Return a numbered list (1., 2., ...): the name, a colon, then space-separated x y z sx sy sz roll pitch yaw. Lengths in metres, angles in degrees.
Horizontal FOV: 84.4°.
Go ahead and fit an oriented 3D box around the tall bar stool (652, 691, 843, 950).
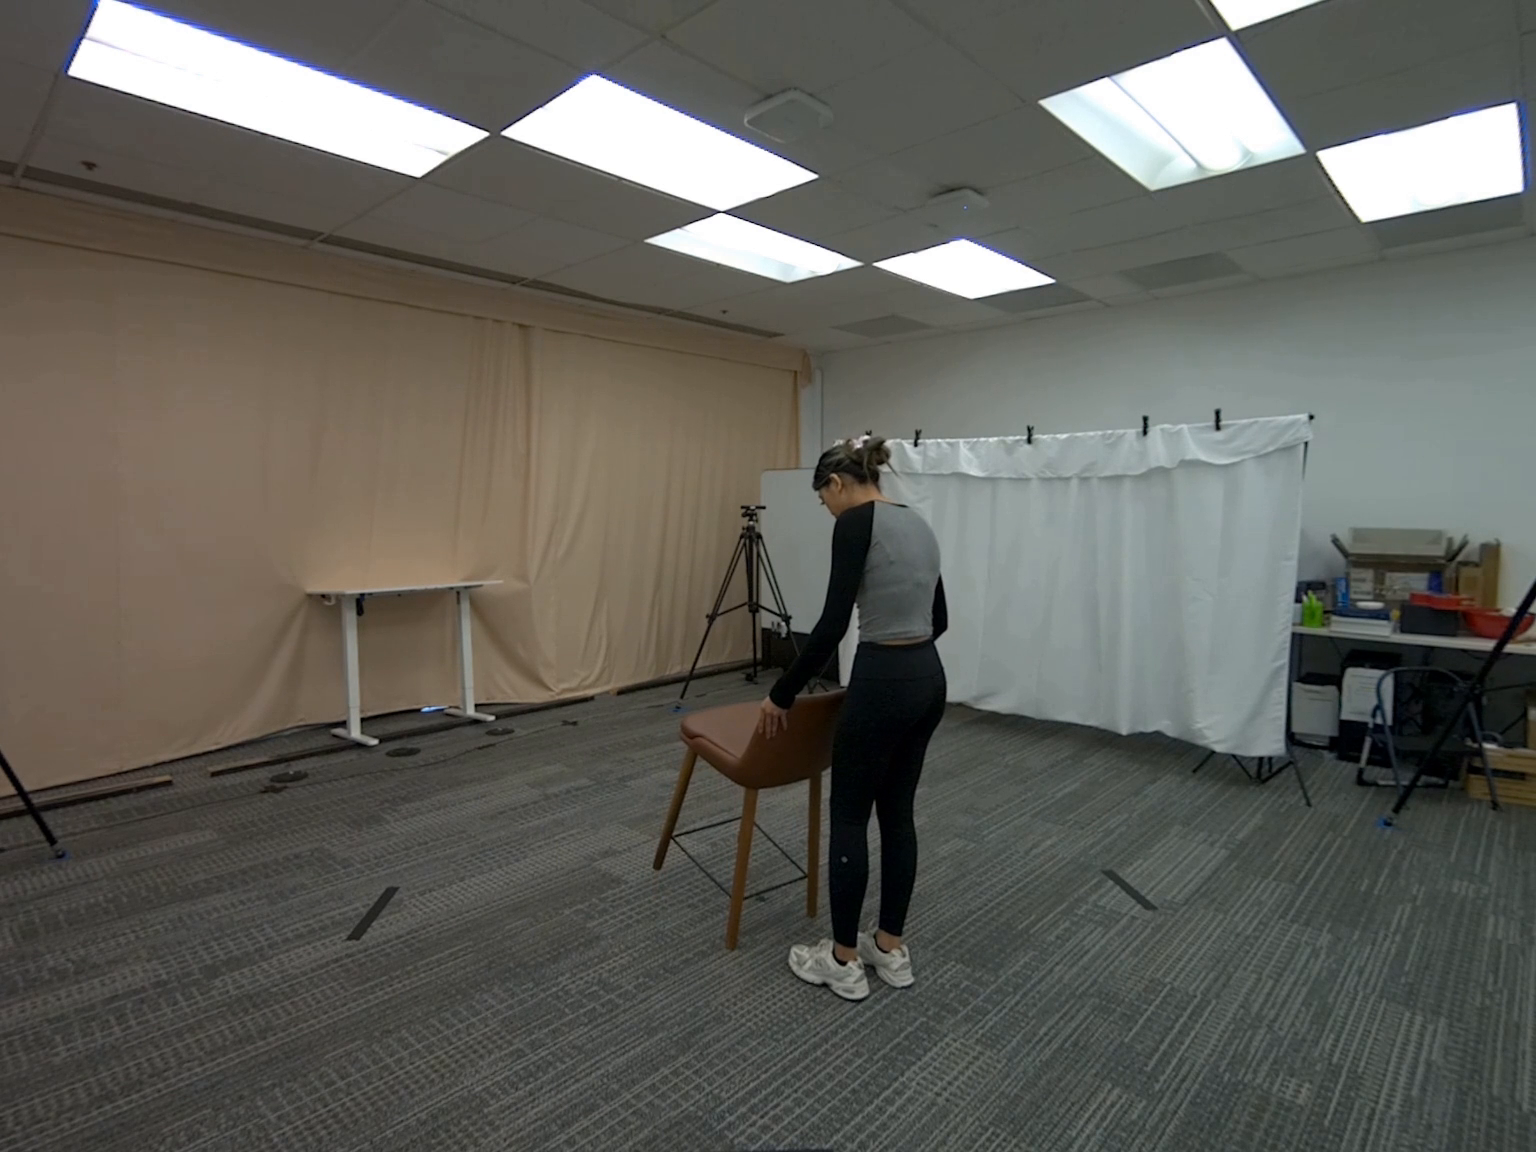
1. tall bar stool: -0.032 0.685 2.795 0.443 0.884 0.485 -2 21 -38
